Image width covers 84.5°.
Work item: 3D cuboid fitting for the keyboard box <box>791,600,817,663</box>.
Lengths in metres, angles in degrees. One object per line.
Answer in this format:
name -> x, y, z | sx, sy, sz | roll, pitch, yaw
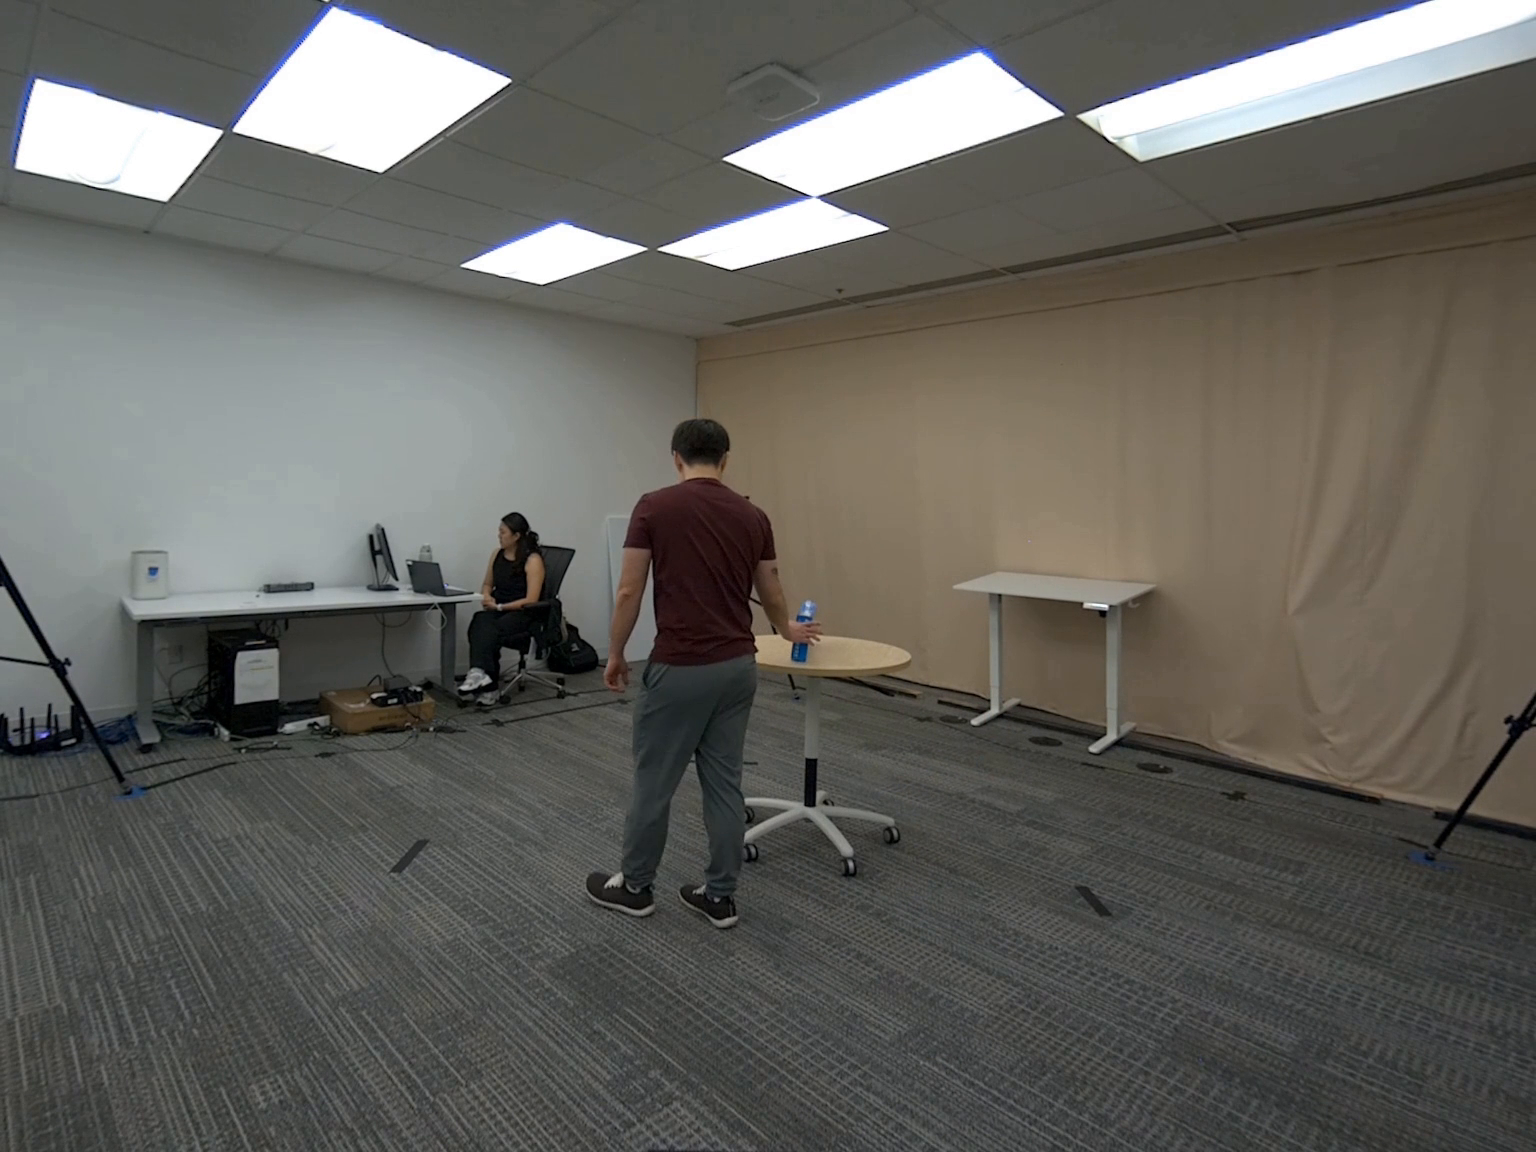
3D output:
keyboard box -> 0.141, 0.216, 3.371 | 0.059, 0.175, 0.436 | 8, 6, 4
